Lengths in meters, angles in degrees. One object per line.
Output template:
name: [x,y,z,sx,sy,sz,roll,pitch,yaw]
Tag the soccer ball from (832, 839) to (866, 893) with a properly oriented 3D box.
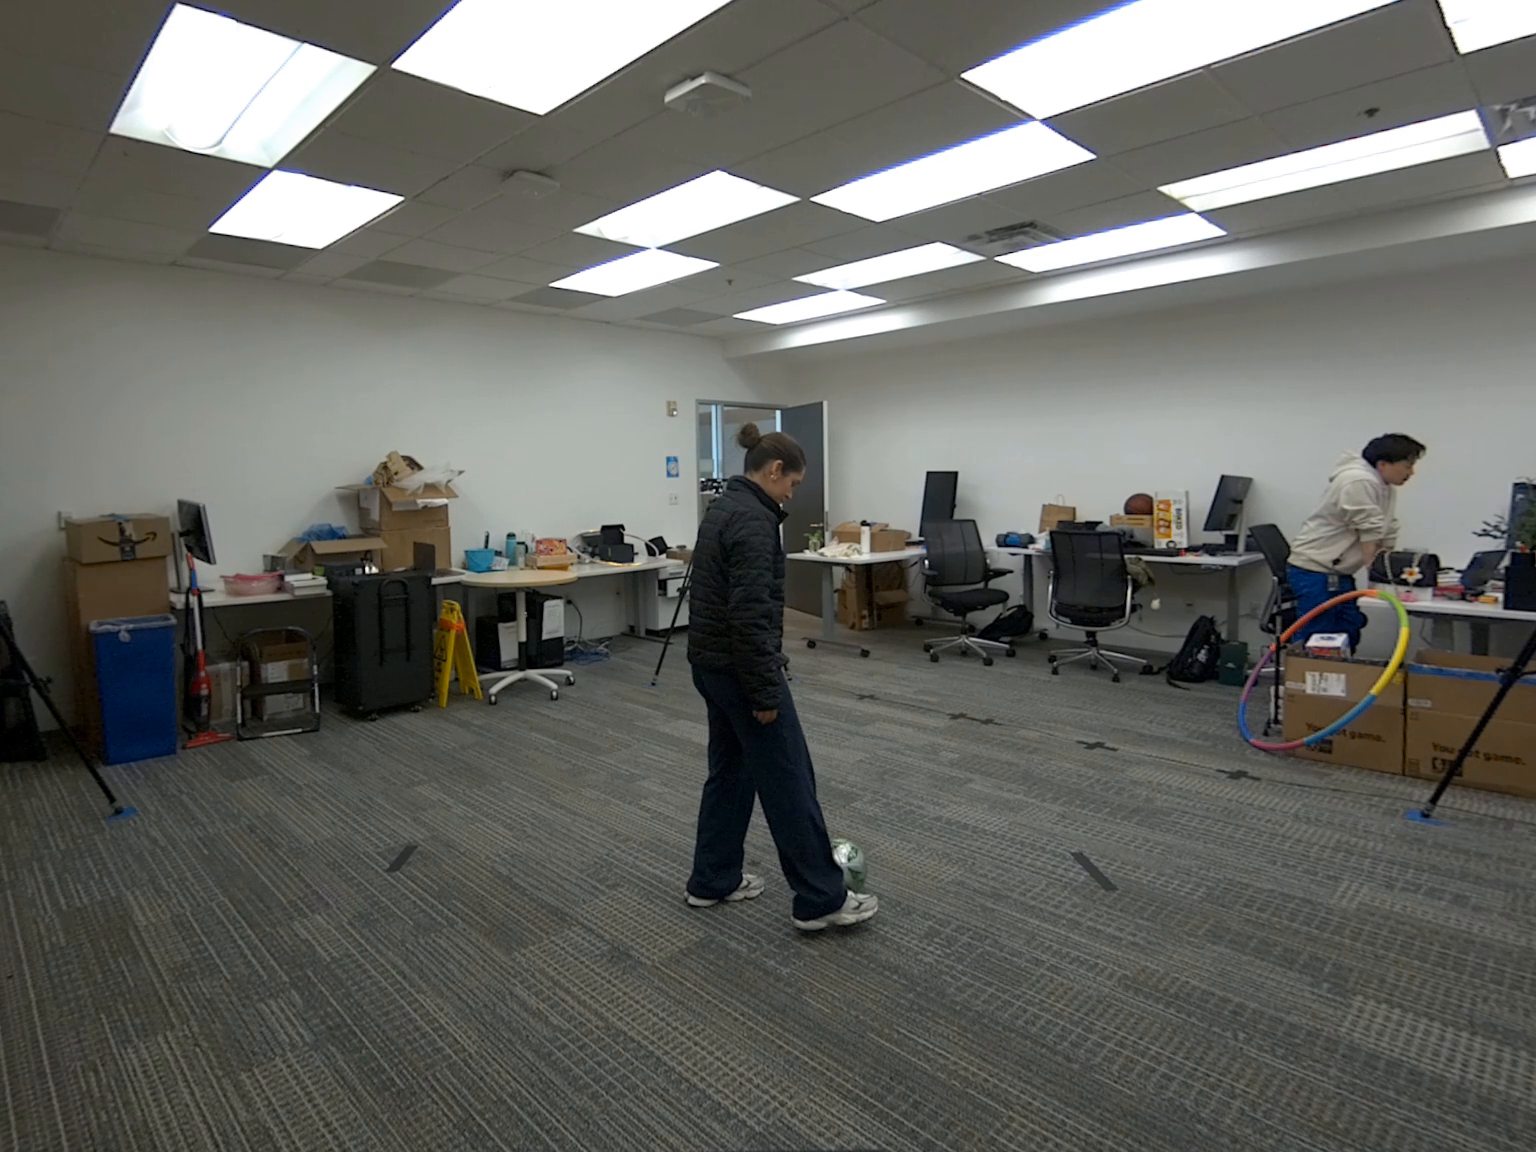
soccer ball: [0.239,0.969,2.836,0.187,0.187,0.188,-1,5,-2]
